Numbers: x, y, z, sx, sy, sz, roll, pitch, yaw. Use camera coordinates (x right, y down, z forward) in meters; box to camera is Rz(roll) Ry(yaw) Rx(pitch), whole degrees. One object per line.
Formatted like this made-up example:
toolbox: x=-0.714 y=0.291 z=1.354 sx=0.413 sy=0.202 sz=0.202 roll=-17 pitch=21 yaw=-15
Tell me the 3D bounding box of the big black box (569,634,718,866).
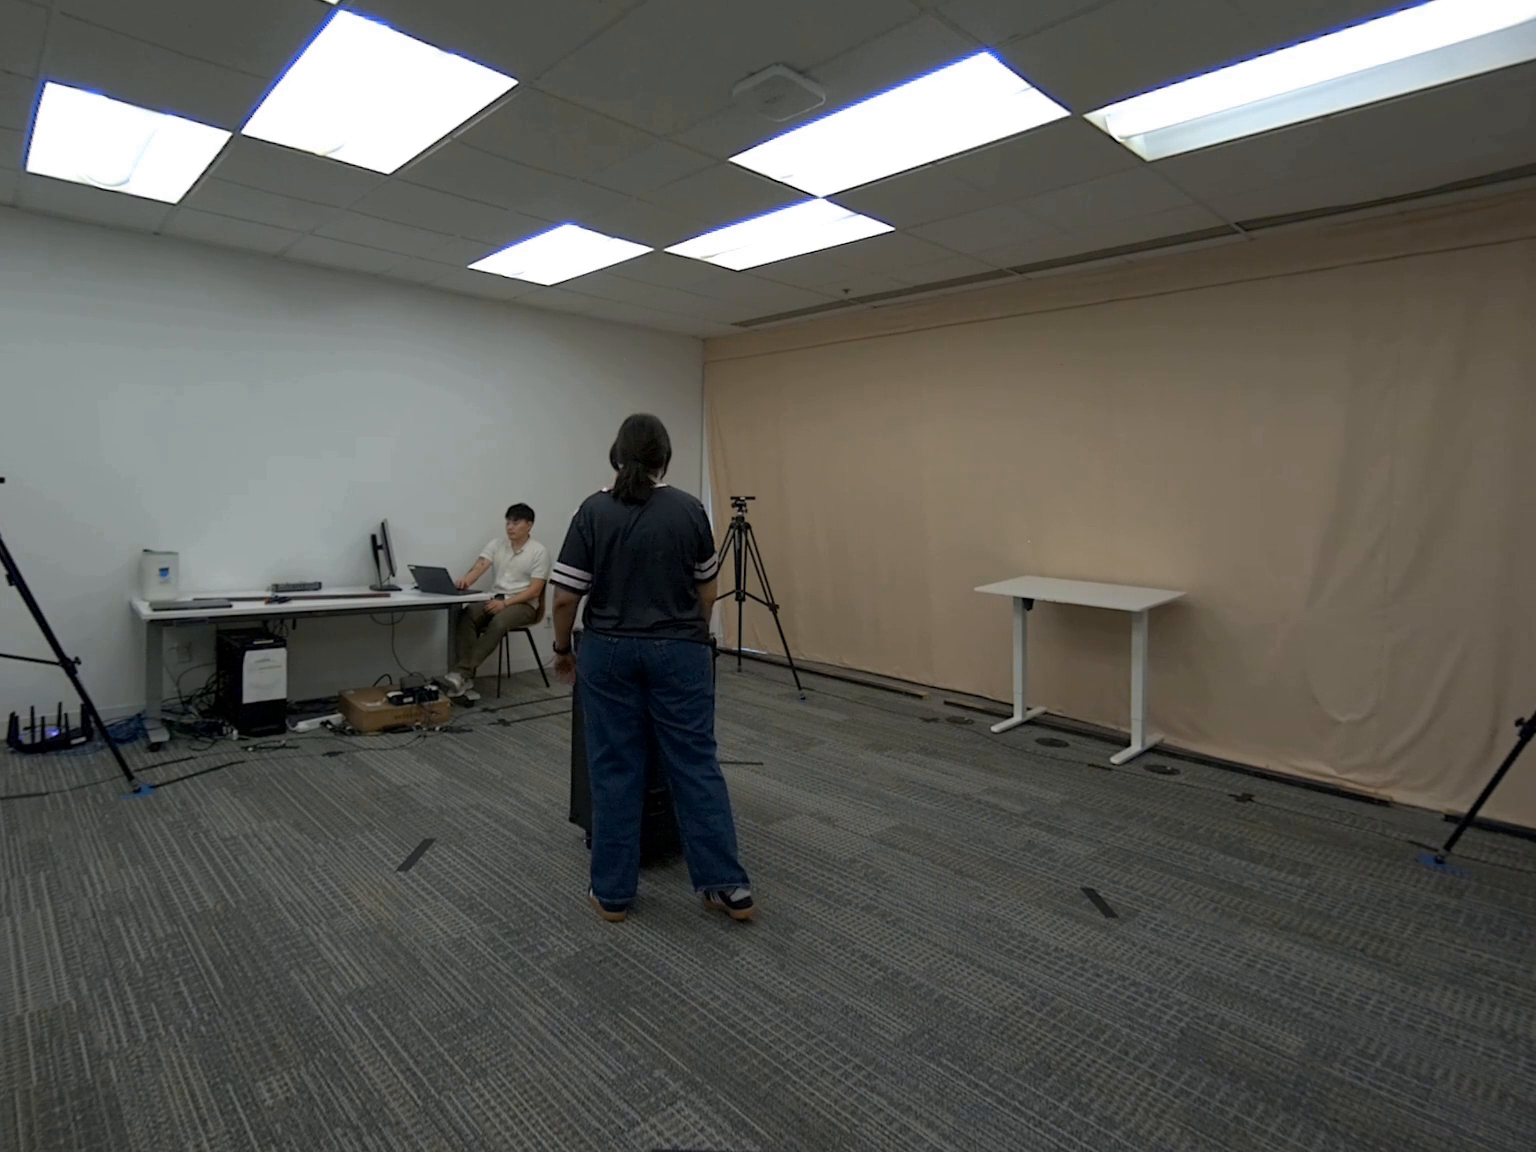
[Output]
big black box: x=-0.512 y=0.658 z=3.329 sx=0.376 sy=0.867 sz=0.537 roll=0 pitch=4 yaw=-43
